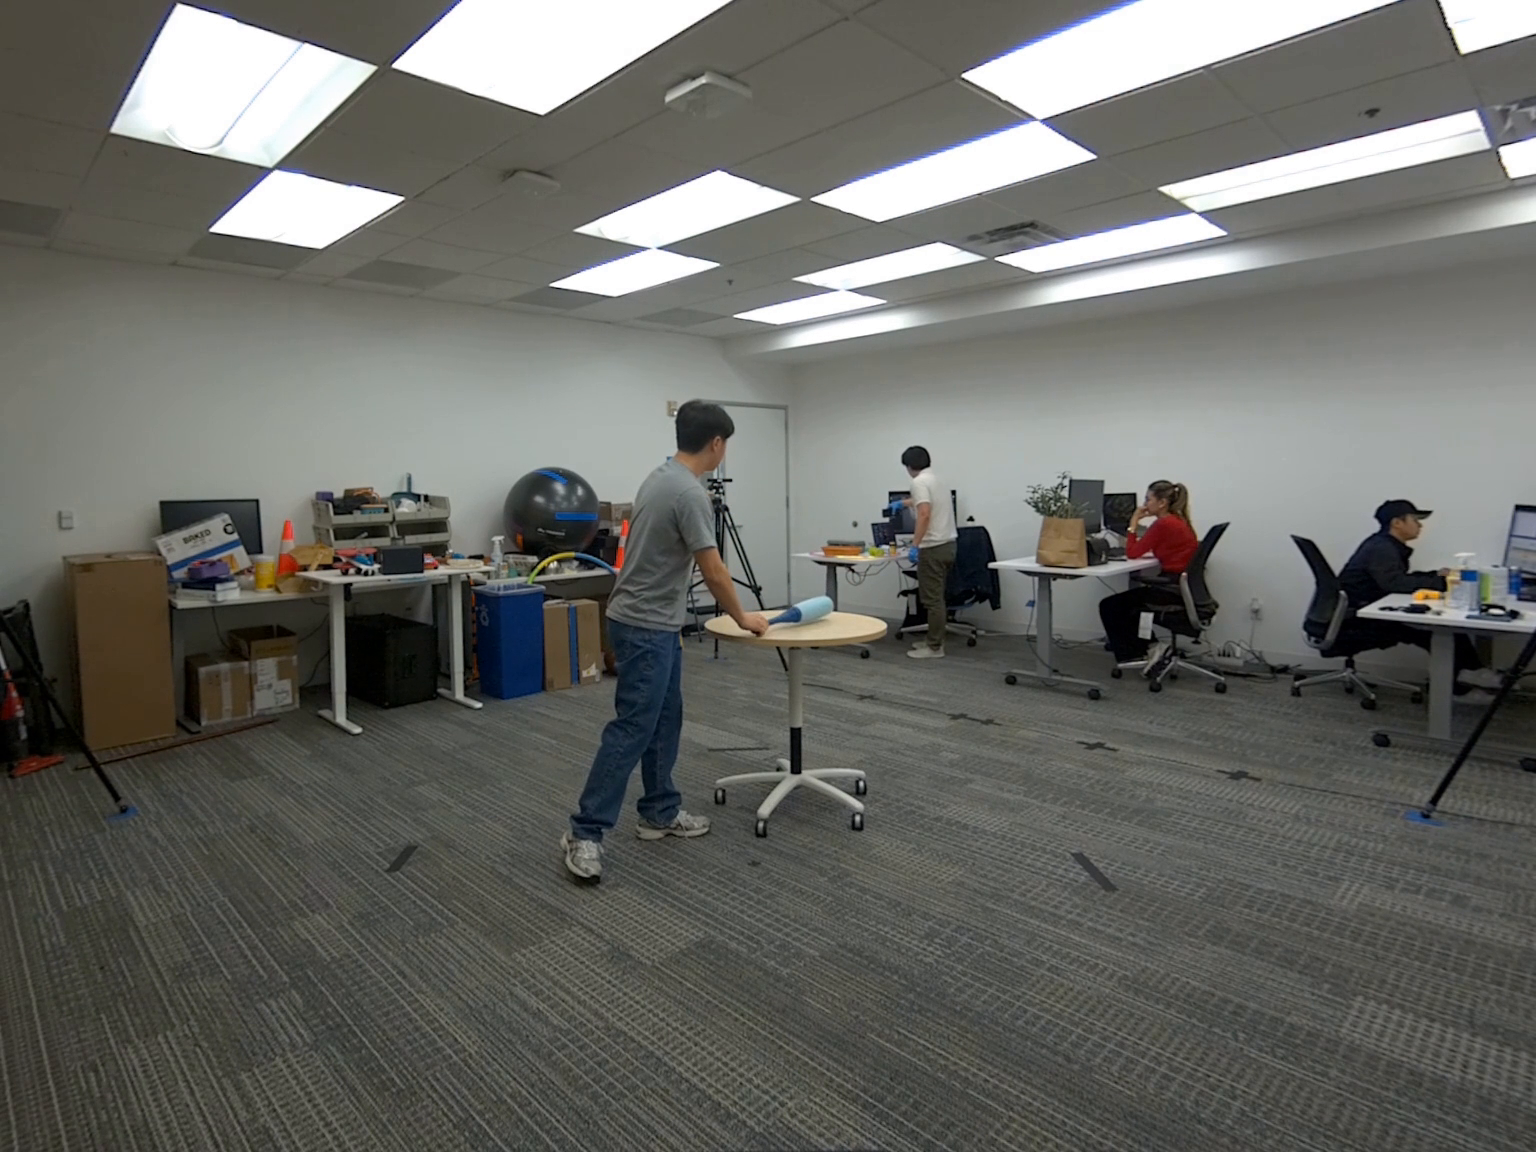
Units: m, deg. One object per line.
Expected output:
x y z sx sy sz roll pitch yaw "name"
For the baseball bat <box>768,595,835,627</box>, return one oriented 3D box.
0.094 0.168 3.513 0.092 0.088 0.530 3 9 37 "baseball bat"
